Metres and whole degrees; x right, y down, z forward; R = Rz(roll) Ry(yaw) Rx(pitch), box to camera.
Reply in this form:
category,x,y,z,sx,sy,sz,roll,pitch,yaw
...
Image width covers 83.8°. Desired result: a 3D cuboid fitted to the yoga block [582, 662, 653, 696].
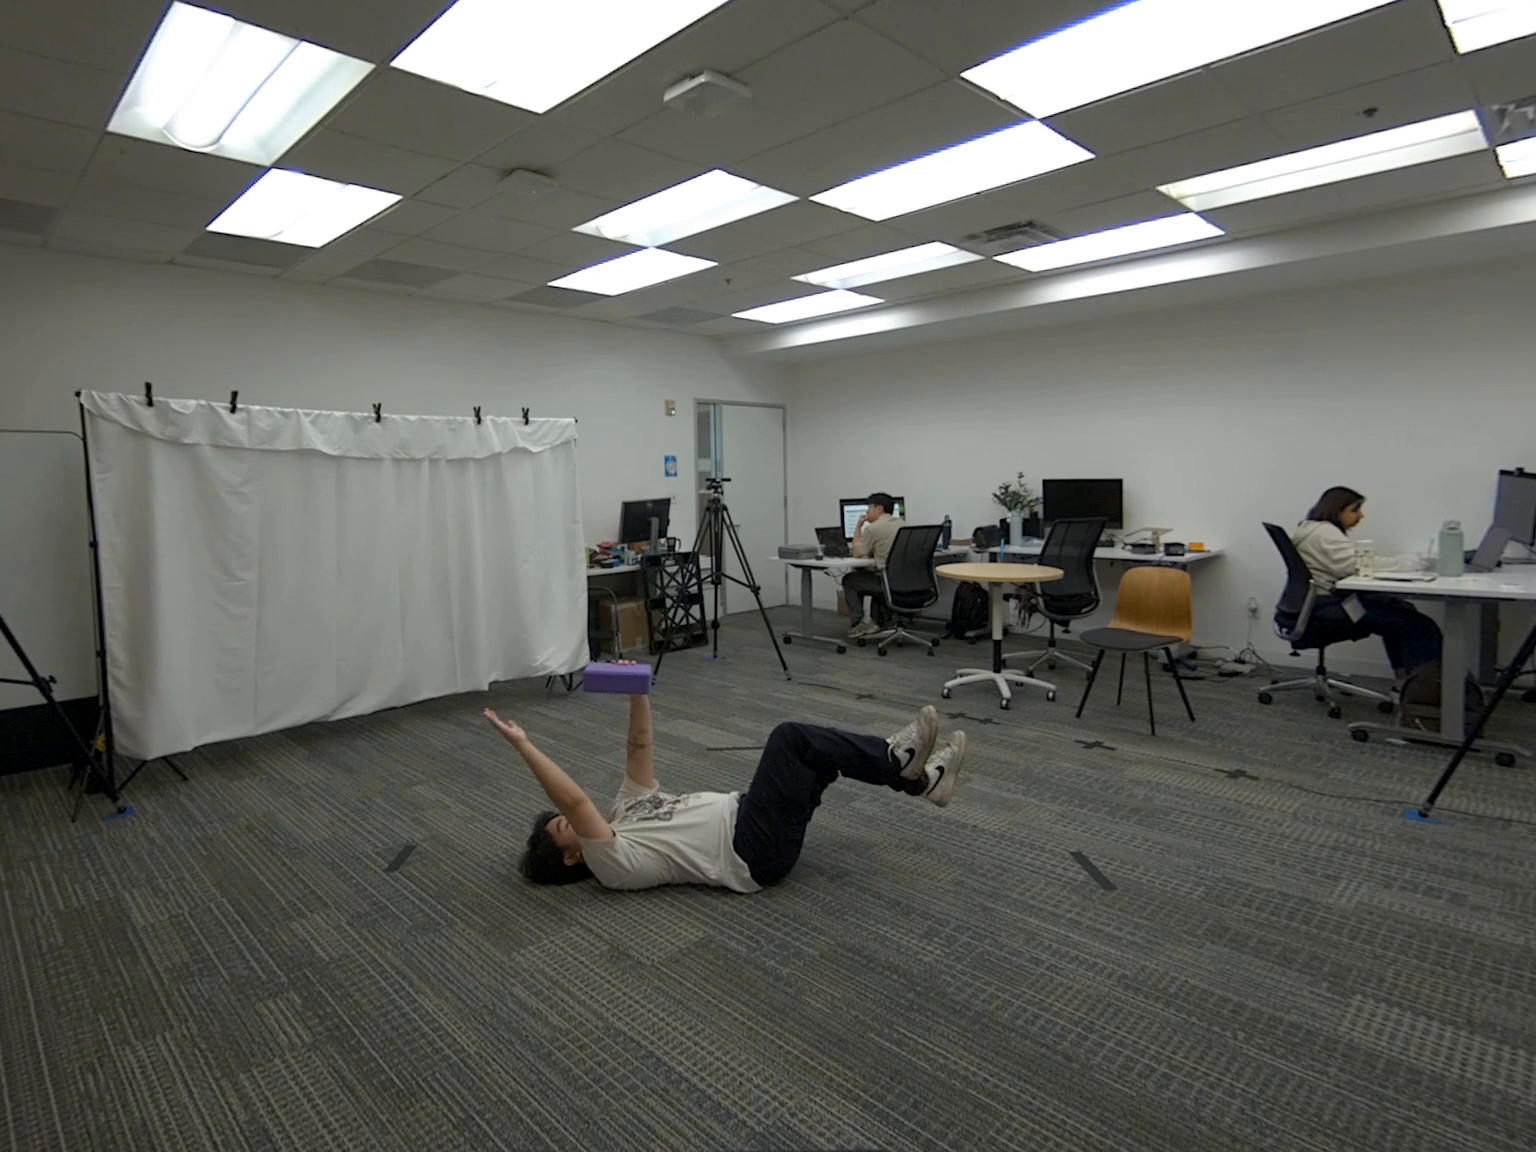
category,x,y,z,sx,sy,sz,roll,pitch,yaw
yoga block,-0.536,0.356,3.002,0.229,0.076,0.149,5,4,0
